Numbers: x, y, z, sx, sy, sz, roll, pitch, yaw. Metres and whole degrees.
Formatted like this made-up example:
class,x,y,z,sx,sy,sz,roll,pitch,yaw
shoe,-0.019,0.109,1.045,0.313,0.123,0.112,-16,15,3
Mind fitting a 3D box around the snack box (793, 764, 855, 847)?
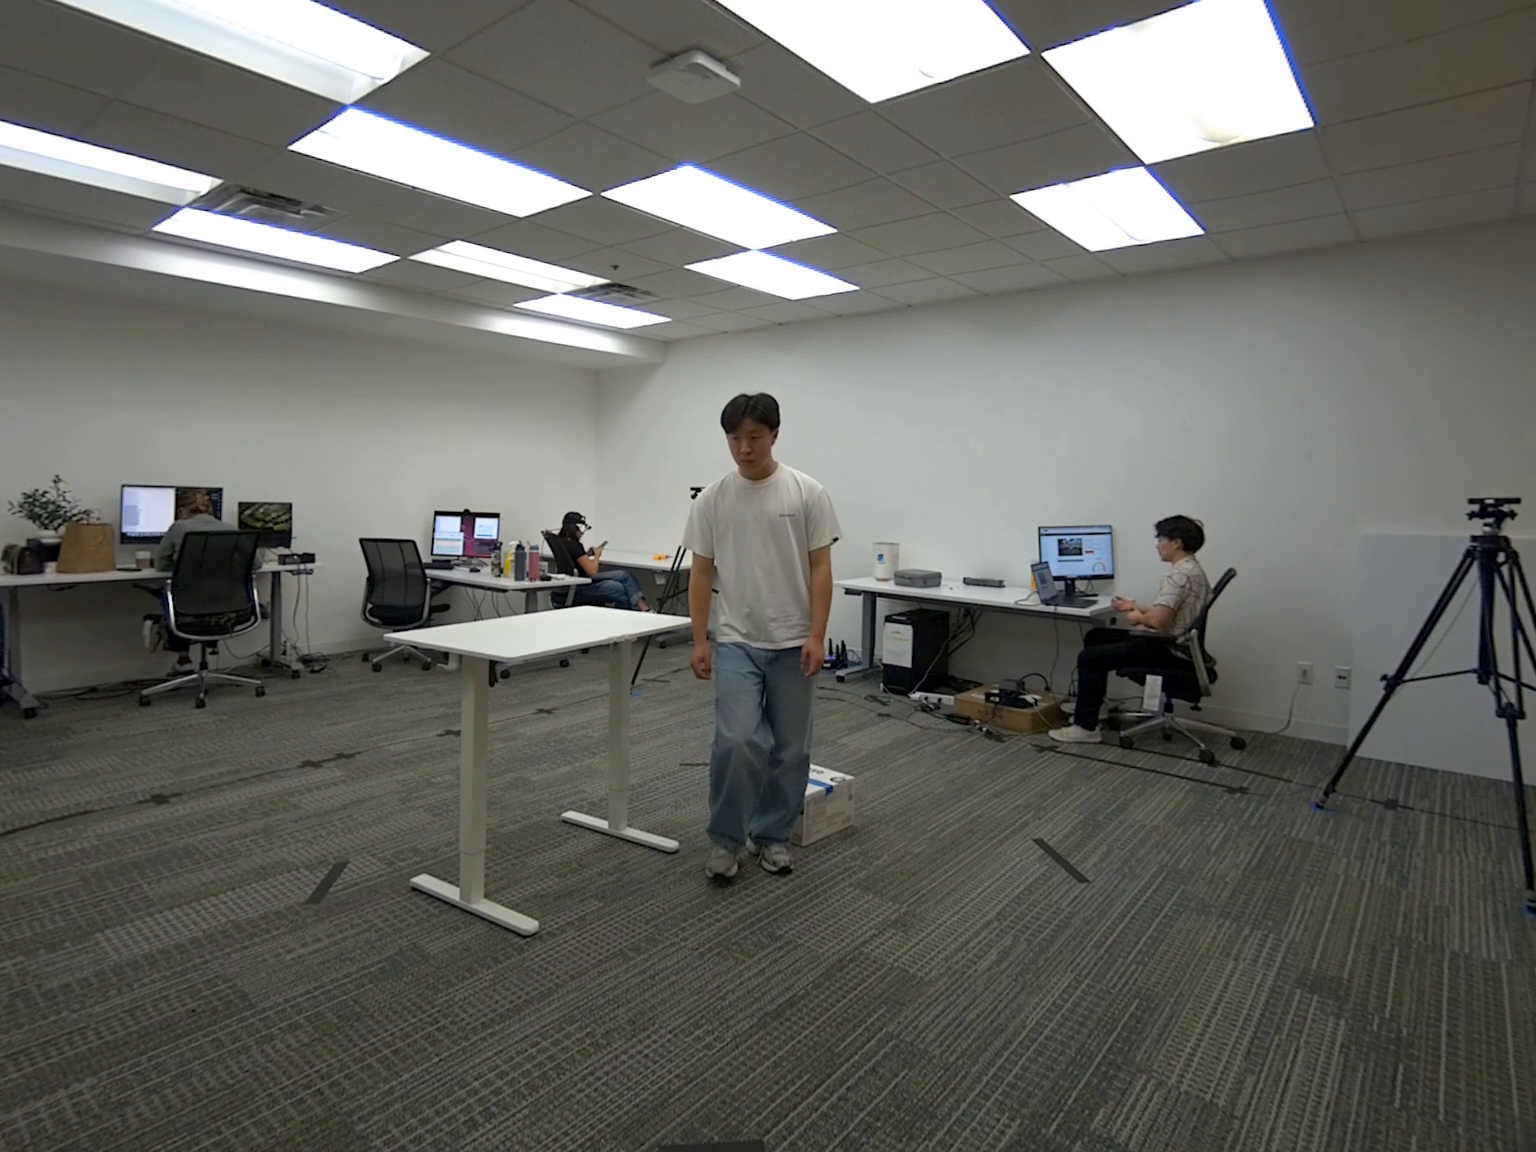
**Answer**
class,x,y,z,sx,sy,sz,roll,pitch,yaw
snack box,0.090,0.925,3.555,0.419,0.205,0.330,6,7,42
